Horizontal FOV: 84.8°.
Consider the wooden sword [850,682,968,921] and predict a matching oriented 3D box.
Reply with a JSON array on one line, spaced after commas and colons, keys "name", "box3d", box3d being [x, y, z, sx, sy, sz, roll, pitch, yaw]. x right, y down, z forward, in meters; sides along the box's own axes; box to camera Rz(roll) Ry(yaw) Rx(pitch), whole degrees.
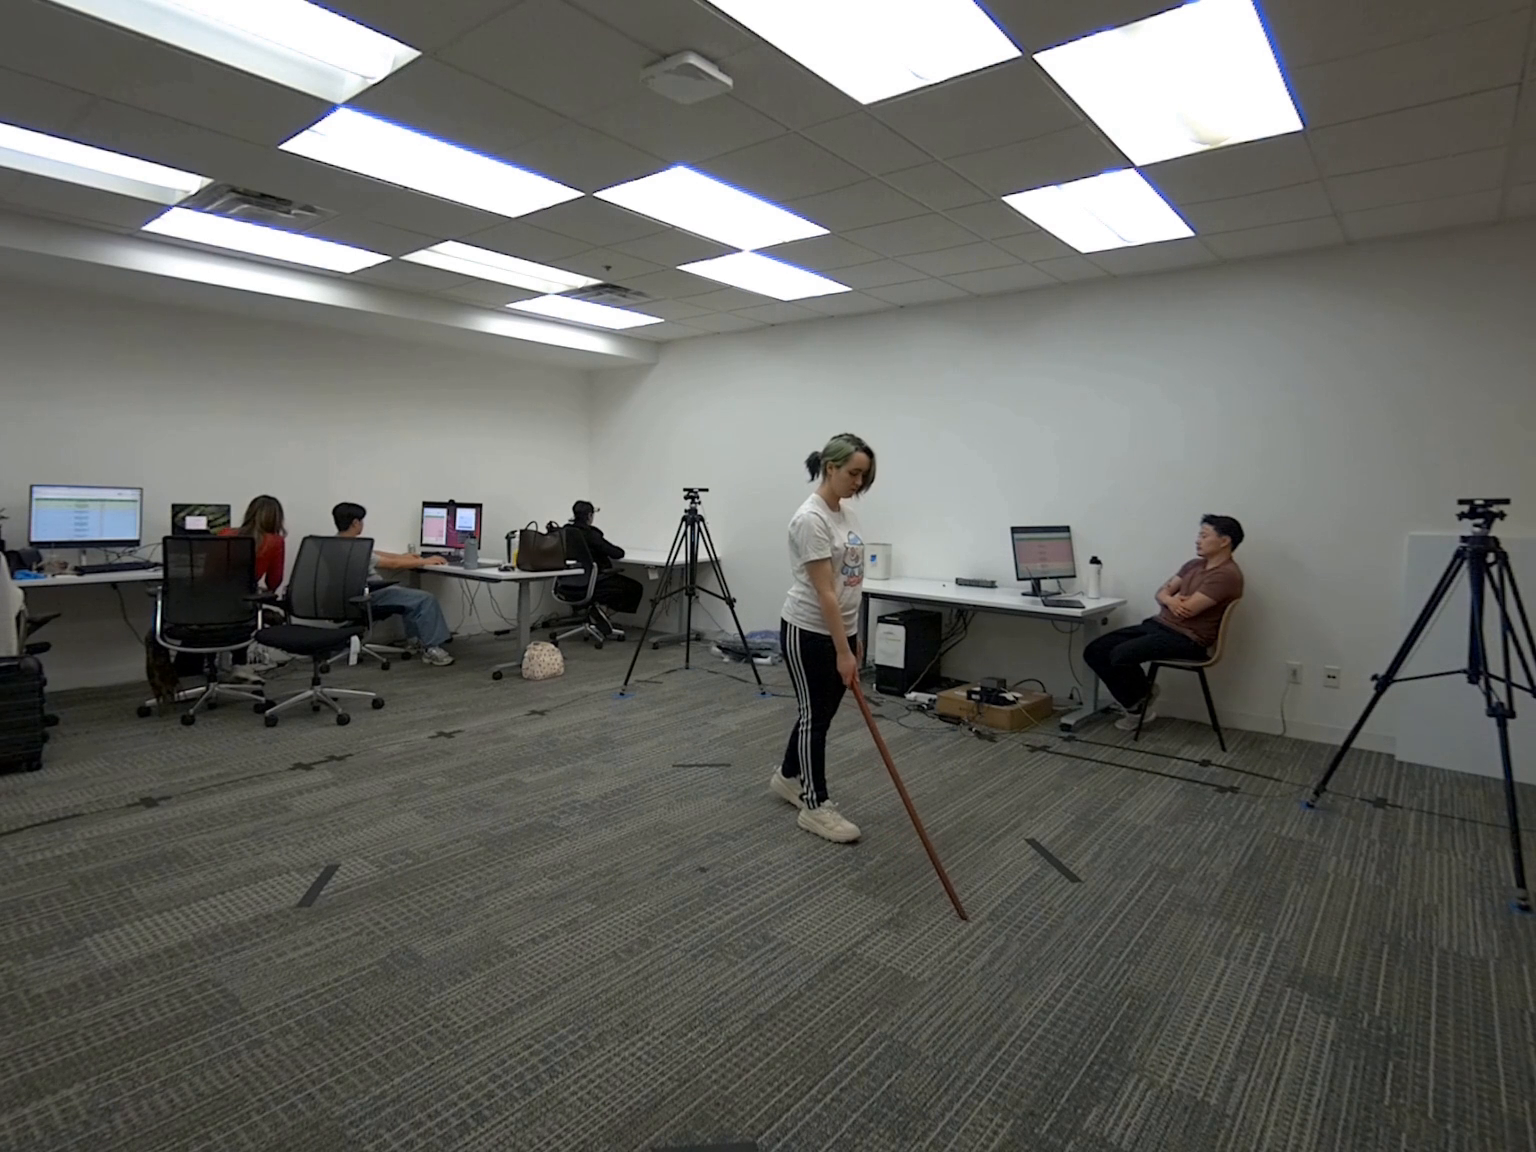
[{"name": "wooden sword", "box3d": [0.467, 0.724, 3.072, 0.049, 1.062, 0.024, 3, -43, -40]}]
